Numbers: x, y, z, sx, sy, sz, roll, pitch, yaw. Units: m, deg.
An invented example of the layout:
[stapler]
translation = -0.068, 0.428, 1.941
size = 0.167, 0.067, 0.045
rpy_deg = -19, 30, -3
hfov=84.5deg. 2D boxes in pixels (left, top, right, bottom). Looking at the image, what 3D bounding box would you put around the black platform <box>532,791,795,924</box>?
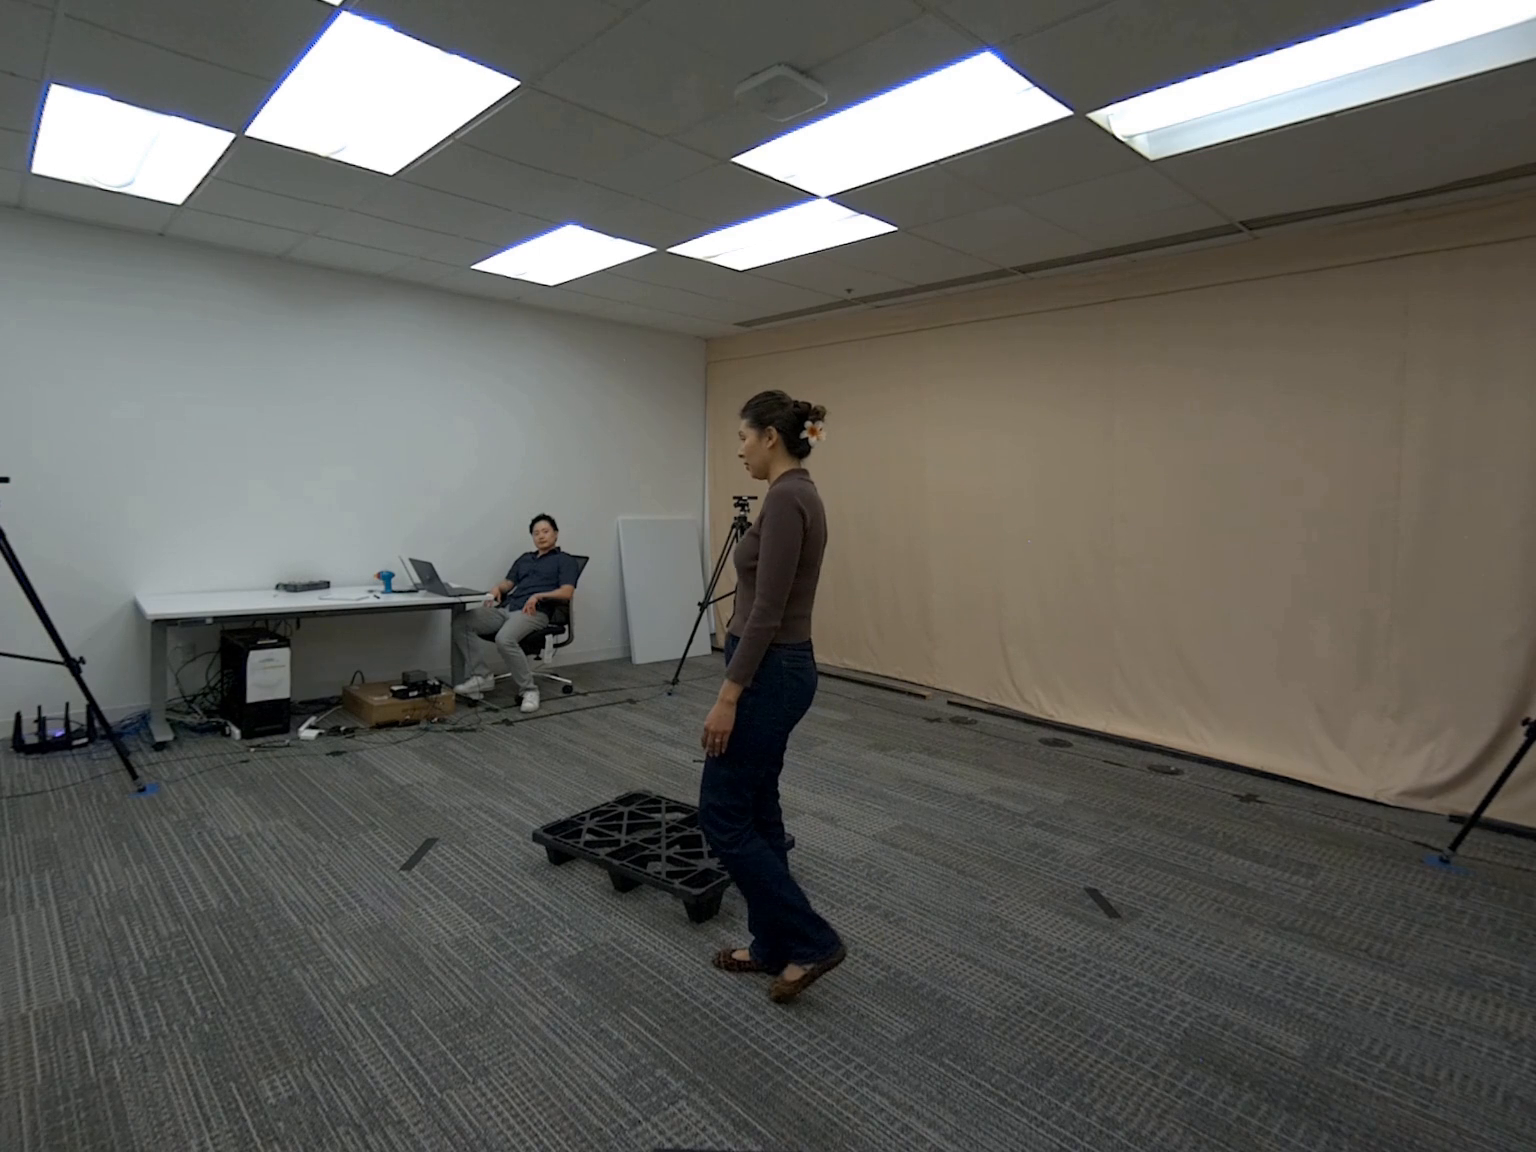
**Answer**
[black platform]
translation = -0.397, 1.025, 3.141
size = 0.825, 0.143, 0.592
rpy_deg = 5, 6, 35
